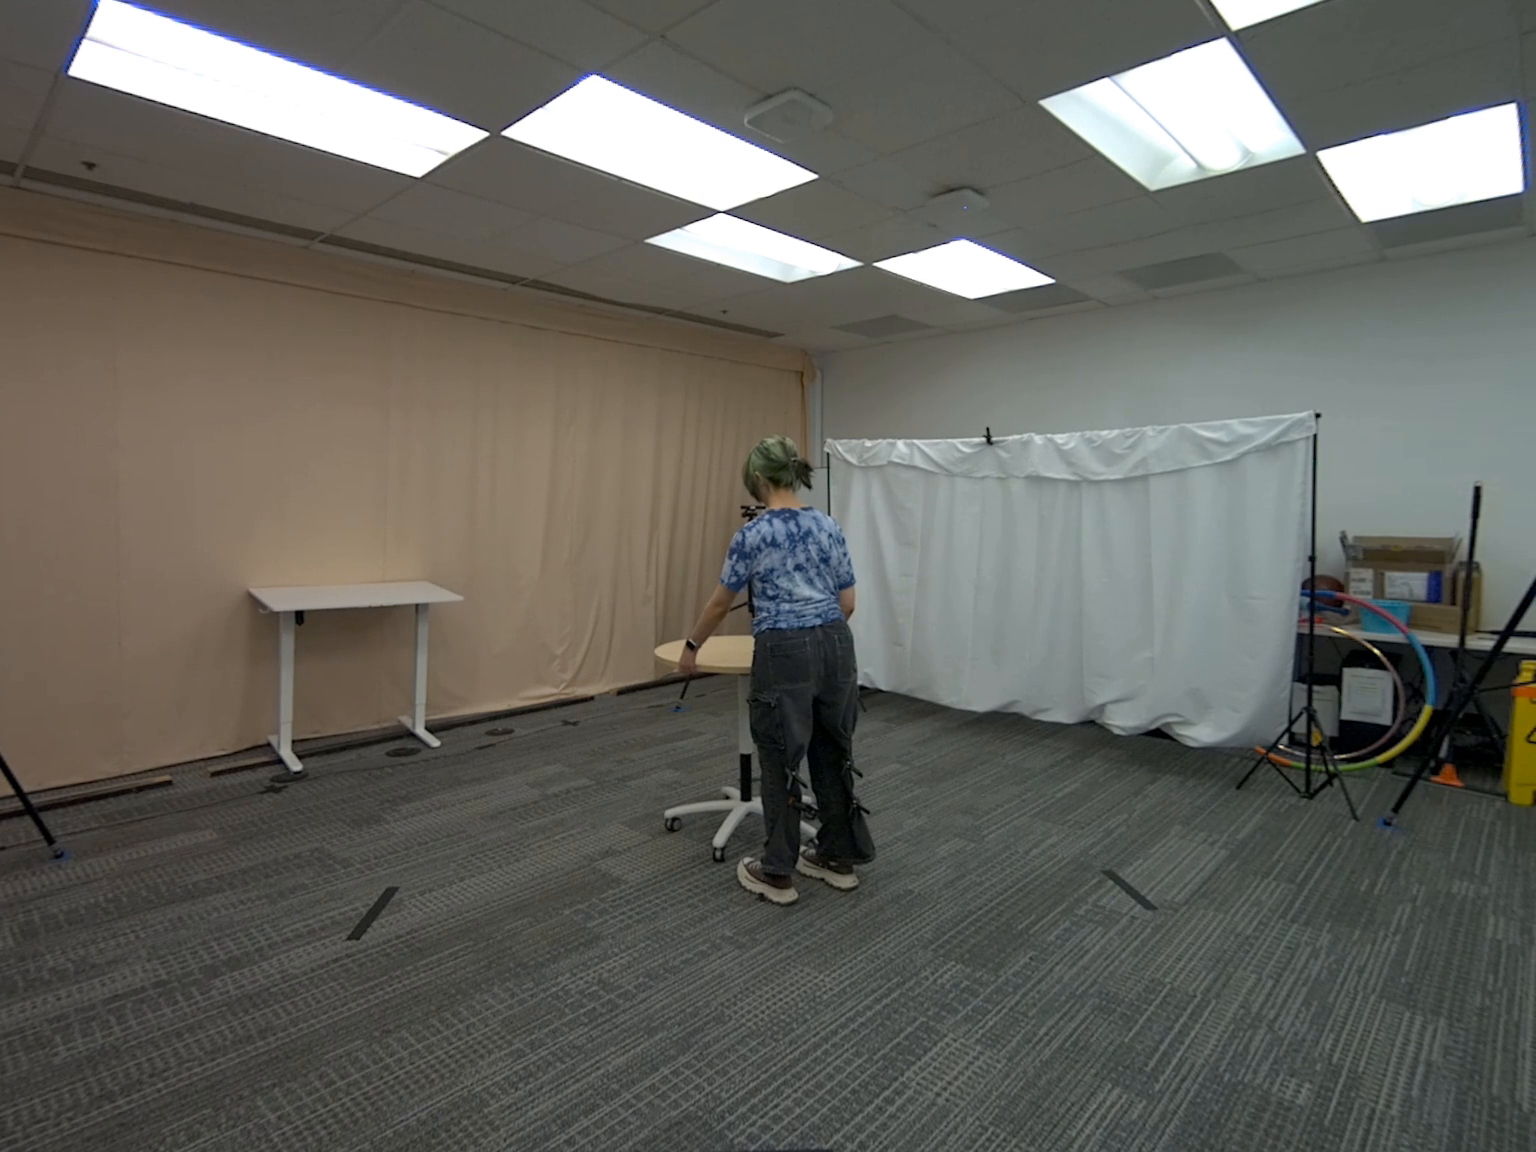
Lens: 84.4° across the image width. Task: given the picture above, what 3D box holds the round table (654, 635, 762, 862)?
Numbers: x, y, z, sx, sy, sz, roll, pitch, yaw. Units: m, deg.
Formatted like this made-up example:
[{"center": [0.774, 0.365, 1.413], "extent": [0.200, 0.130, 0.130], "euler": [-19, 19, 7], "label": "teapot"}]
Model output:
[{"center": [-0.098, 0.703, 3.566], "extent": [0.763, 0.792, 0.766], "euler": [-1, 3, -2], "label": "round table"}]
